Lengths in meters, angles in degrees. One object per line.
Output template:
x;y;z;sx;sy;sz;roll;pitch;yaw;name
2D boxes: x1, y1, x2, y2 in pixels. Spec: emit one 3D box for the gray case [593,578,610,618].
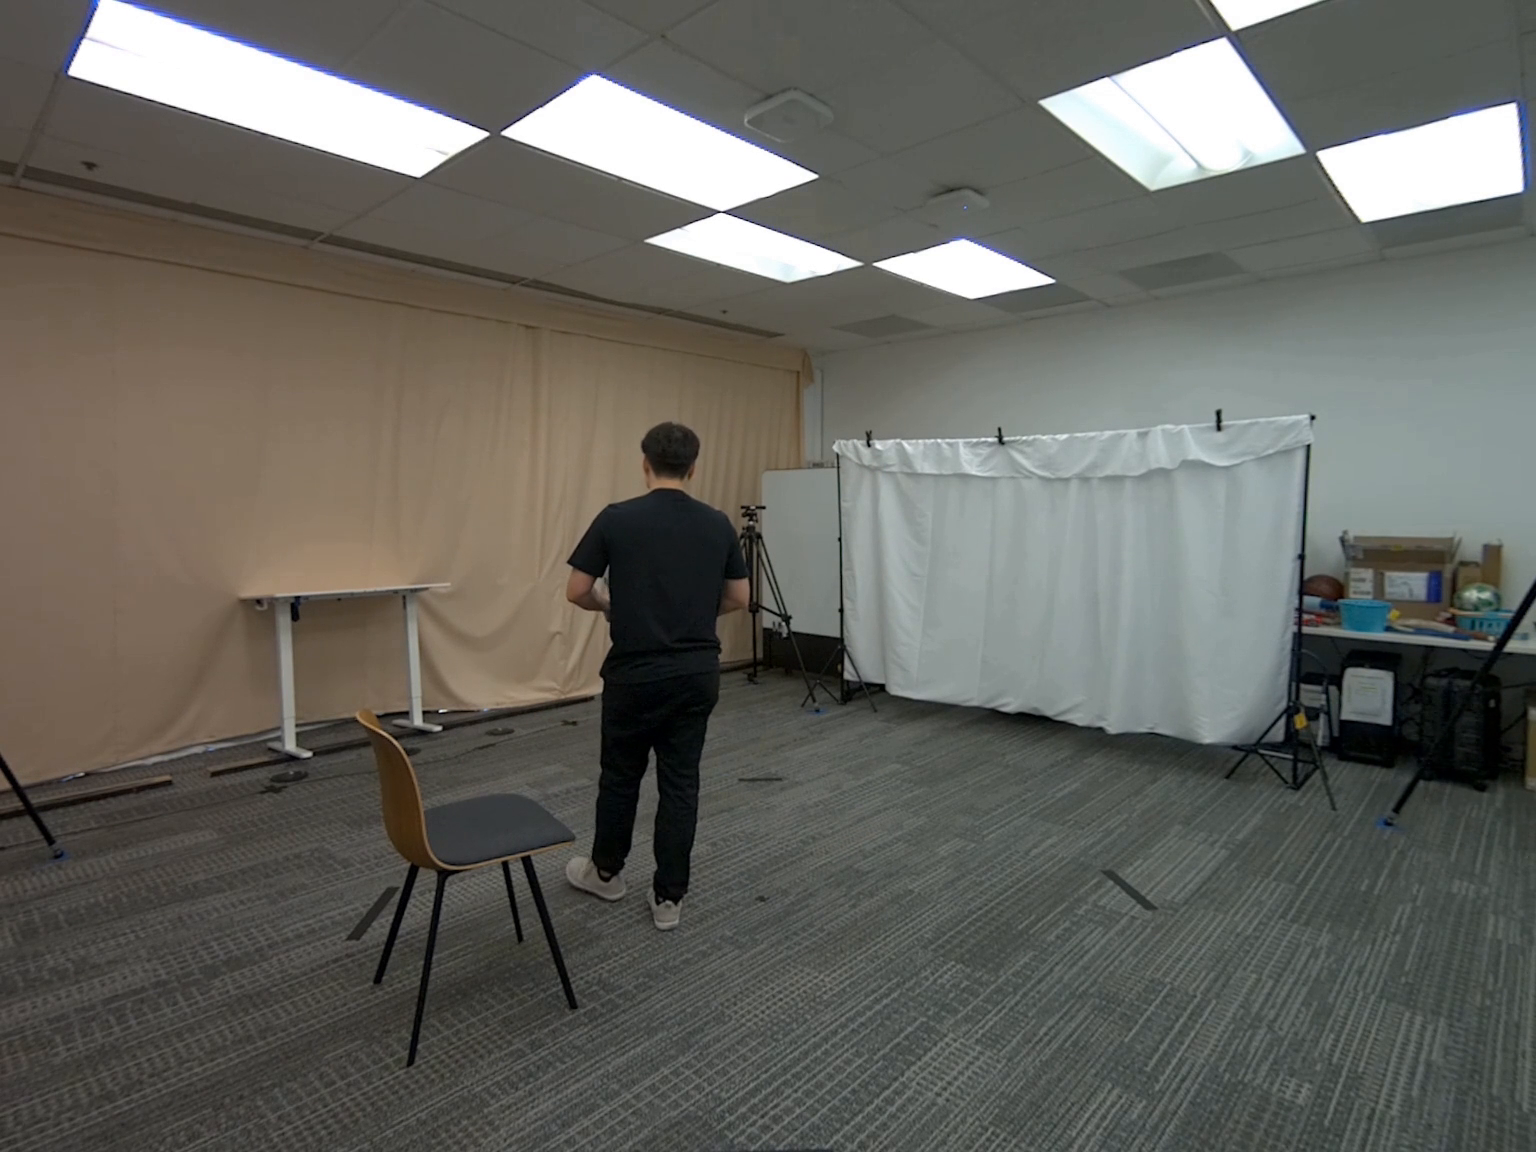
-0.472;0.069;3.140;0.252;0.103;0.267;0;47;-18;gray case
